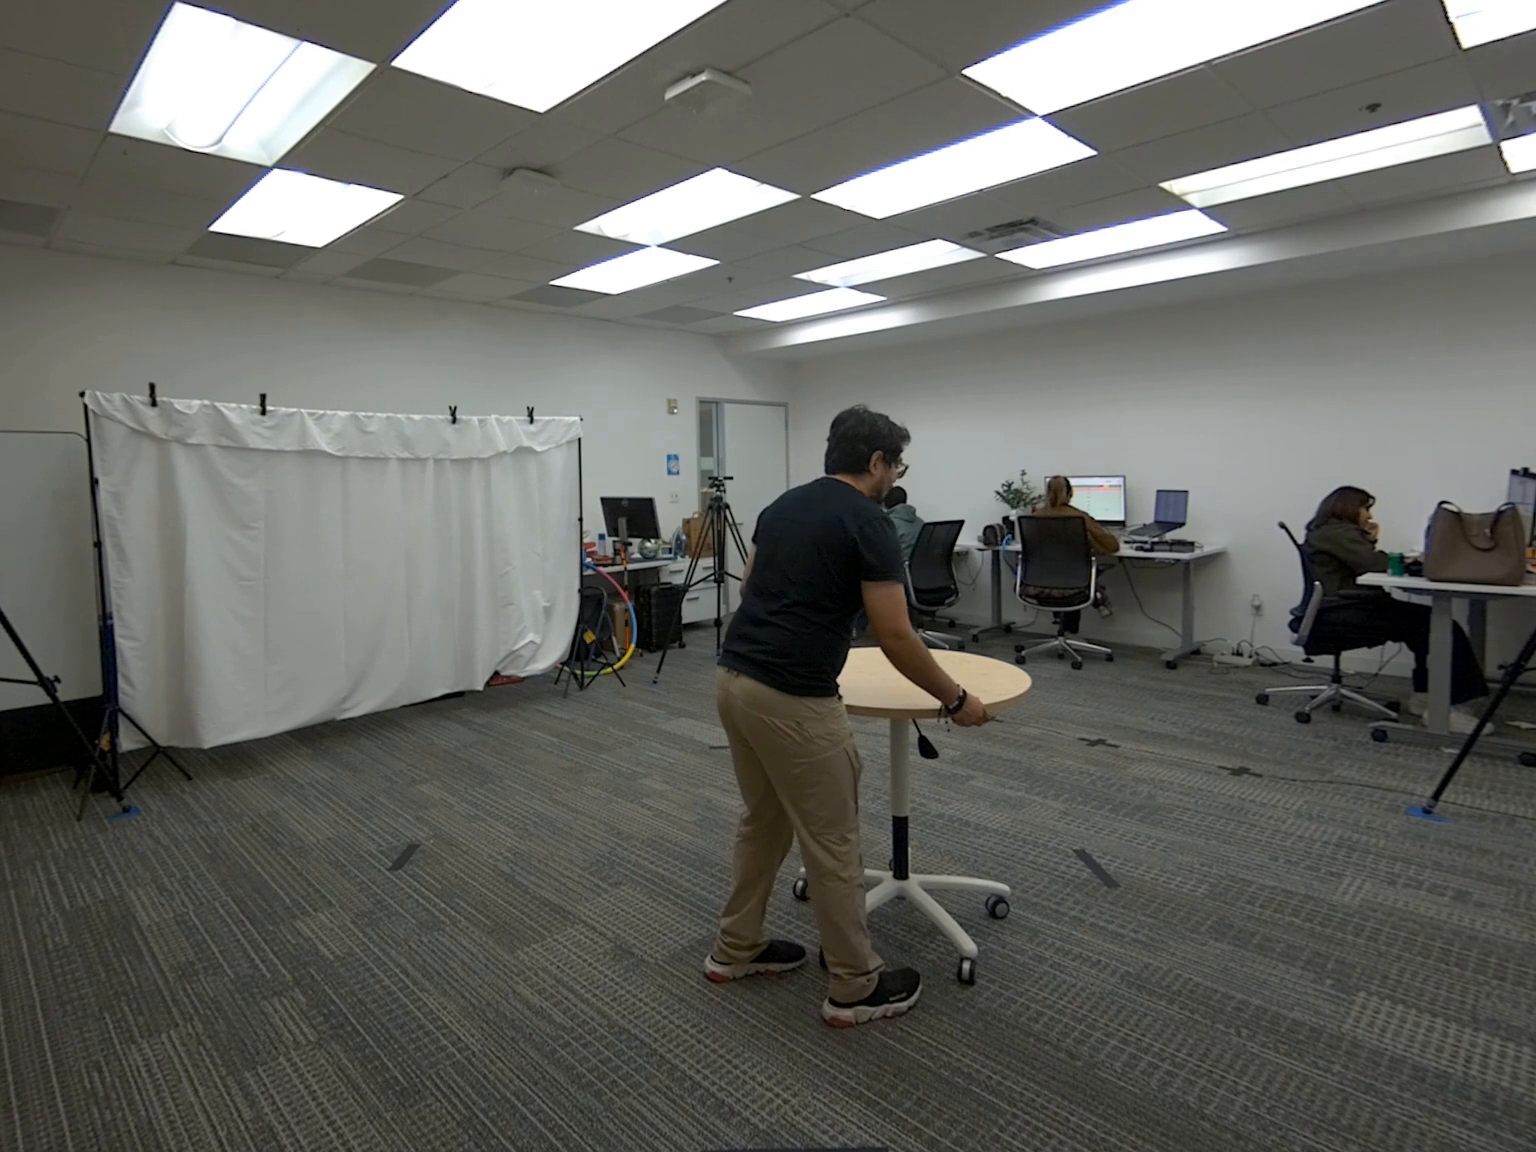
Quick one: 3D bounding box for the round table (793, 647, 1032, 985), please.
[{"bbox_3d":[0.417,0.686,2.659,0.784,0.783,0.790,-1,6,-2],"label":"round table"}]
